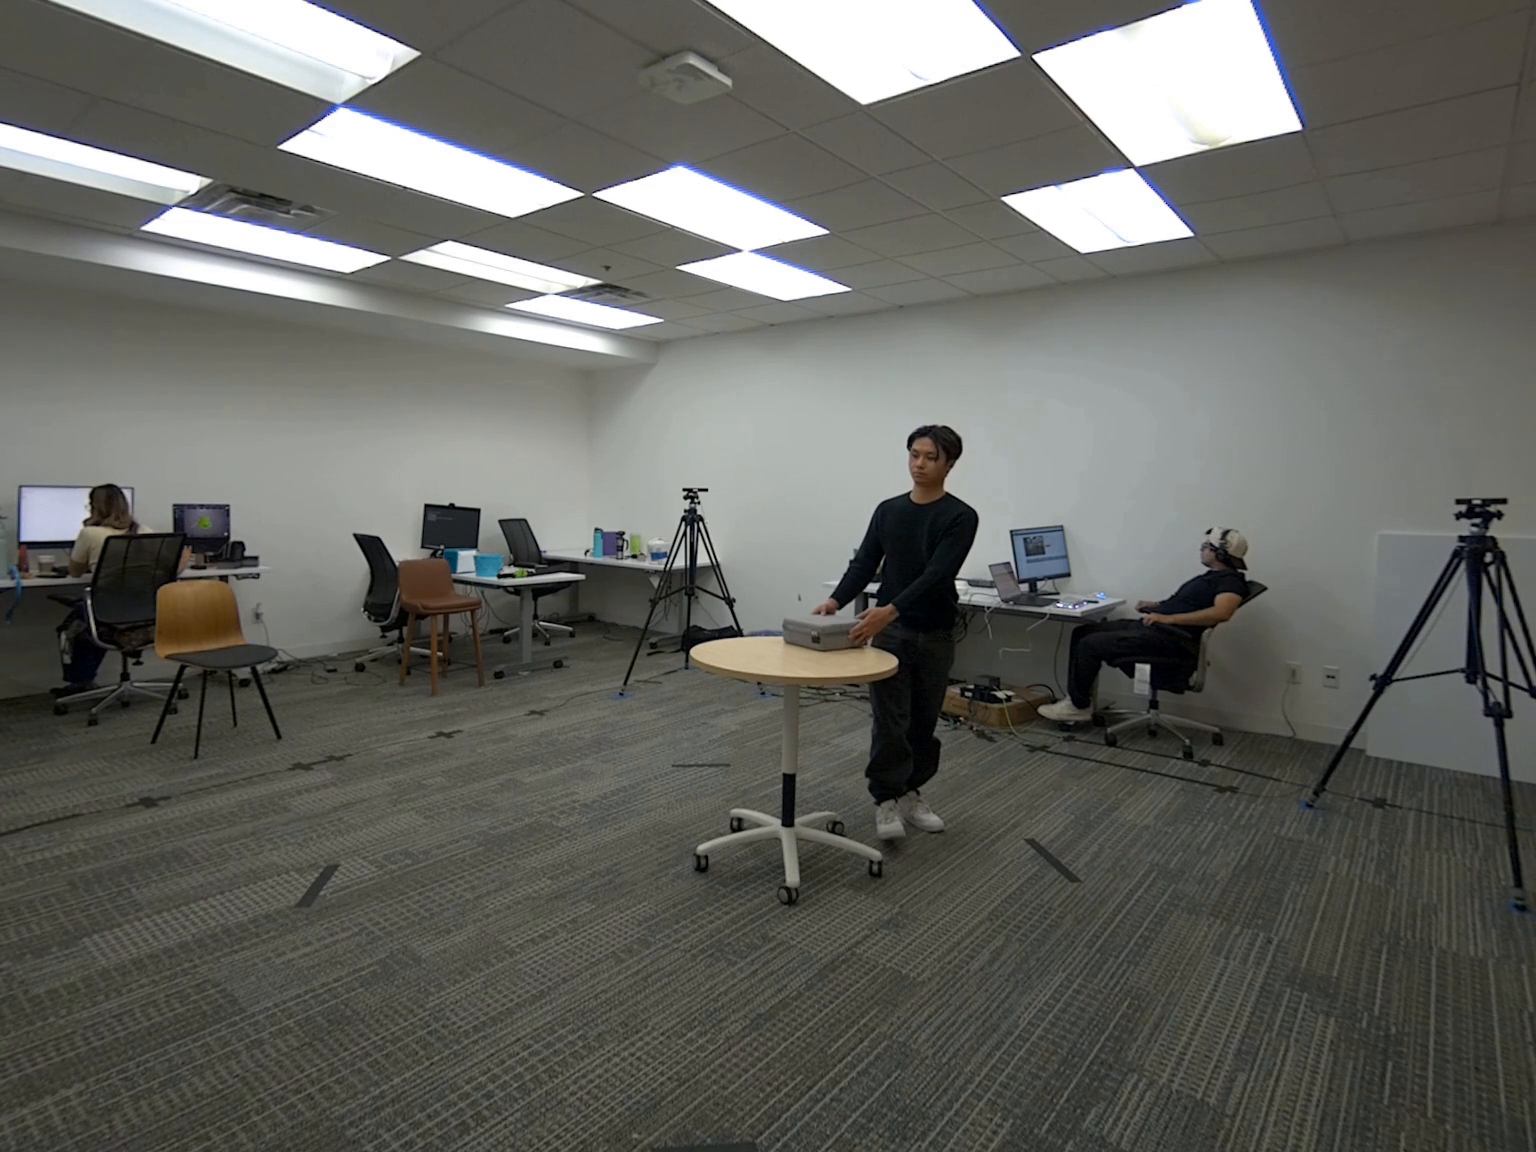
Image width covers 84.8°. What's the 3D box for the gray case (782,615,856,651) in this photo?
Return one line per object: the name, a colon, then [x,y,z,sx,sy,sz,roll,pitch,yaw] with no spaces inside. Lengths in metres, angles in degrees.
gray case: [0.211,0.218,3.368,0.253,0.104,0.265,-2,6,-35]
